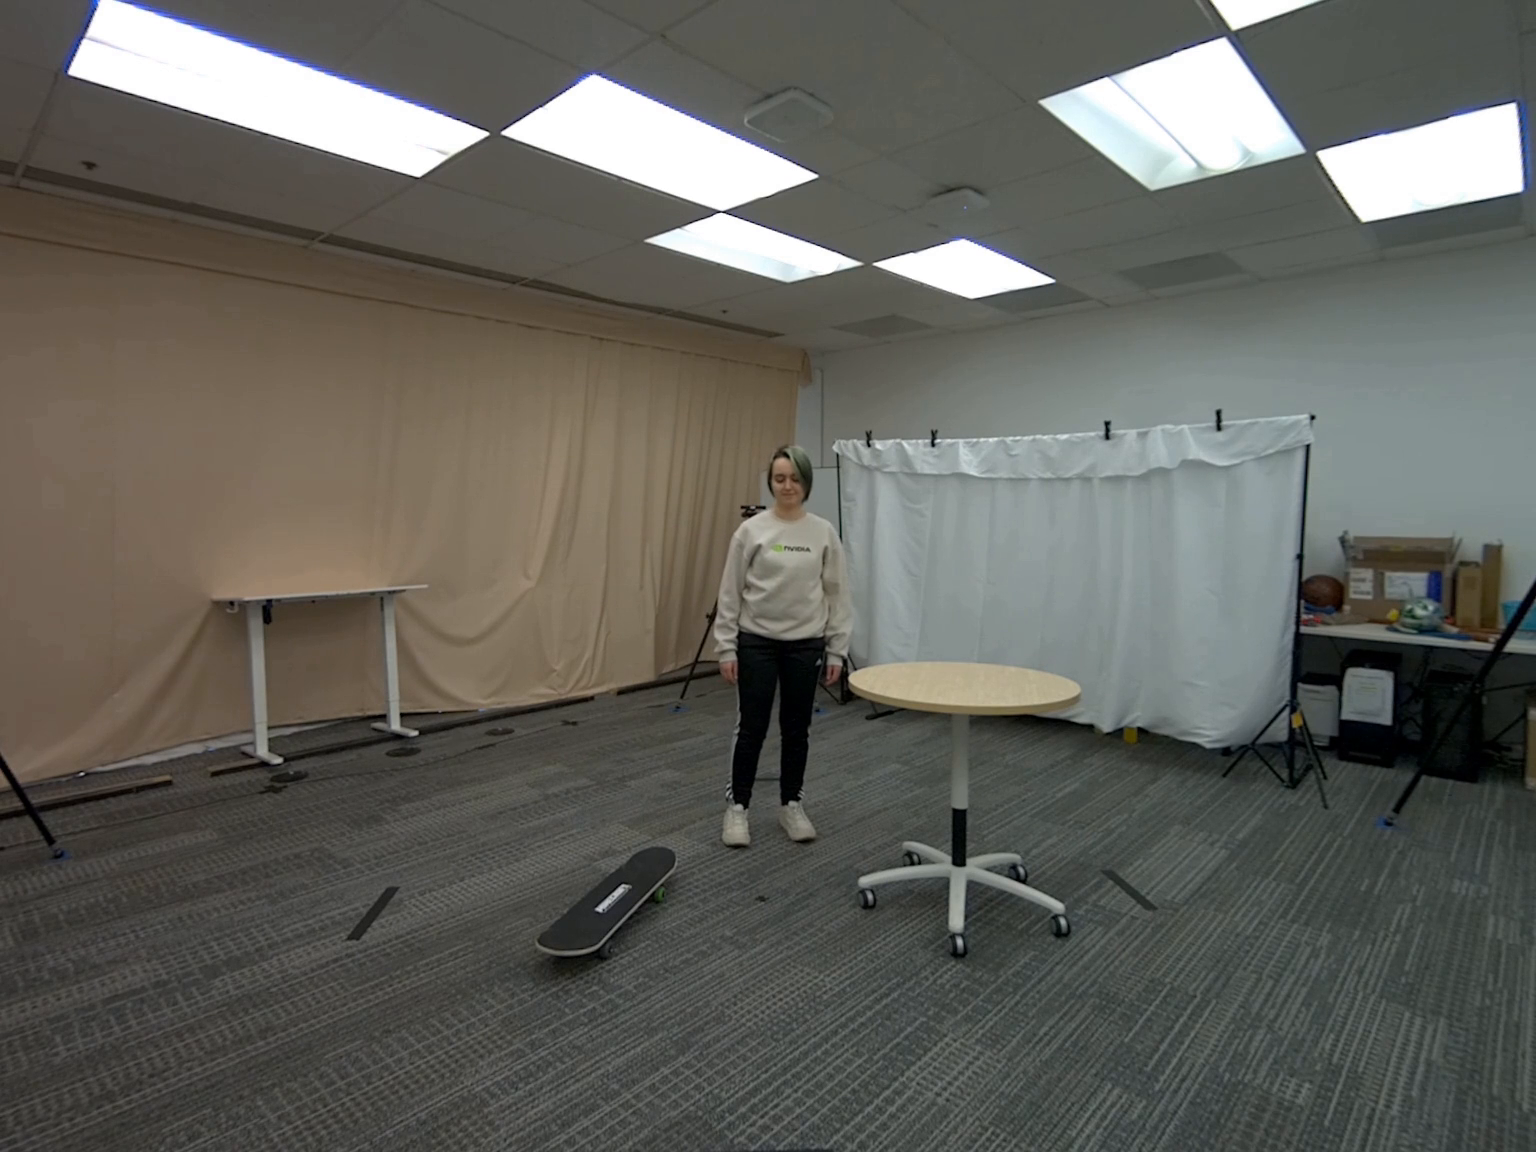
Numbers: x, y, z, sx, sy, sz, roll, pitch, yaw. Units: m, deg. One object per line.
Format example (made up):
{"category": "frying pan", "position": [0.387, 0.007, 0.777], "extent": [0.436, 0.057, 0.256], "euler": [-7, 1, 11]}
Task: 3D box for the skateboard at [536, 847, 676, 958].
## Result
{"category": "skateboard", "position": [-0.517, 1.104, 2.803], "extent": [0.197, 0.110, 0.771], "euler": [1, 5, 18]}
